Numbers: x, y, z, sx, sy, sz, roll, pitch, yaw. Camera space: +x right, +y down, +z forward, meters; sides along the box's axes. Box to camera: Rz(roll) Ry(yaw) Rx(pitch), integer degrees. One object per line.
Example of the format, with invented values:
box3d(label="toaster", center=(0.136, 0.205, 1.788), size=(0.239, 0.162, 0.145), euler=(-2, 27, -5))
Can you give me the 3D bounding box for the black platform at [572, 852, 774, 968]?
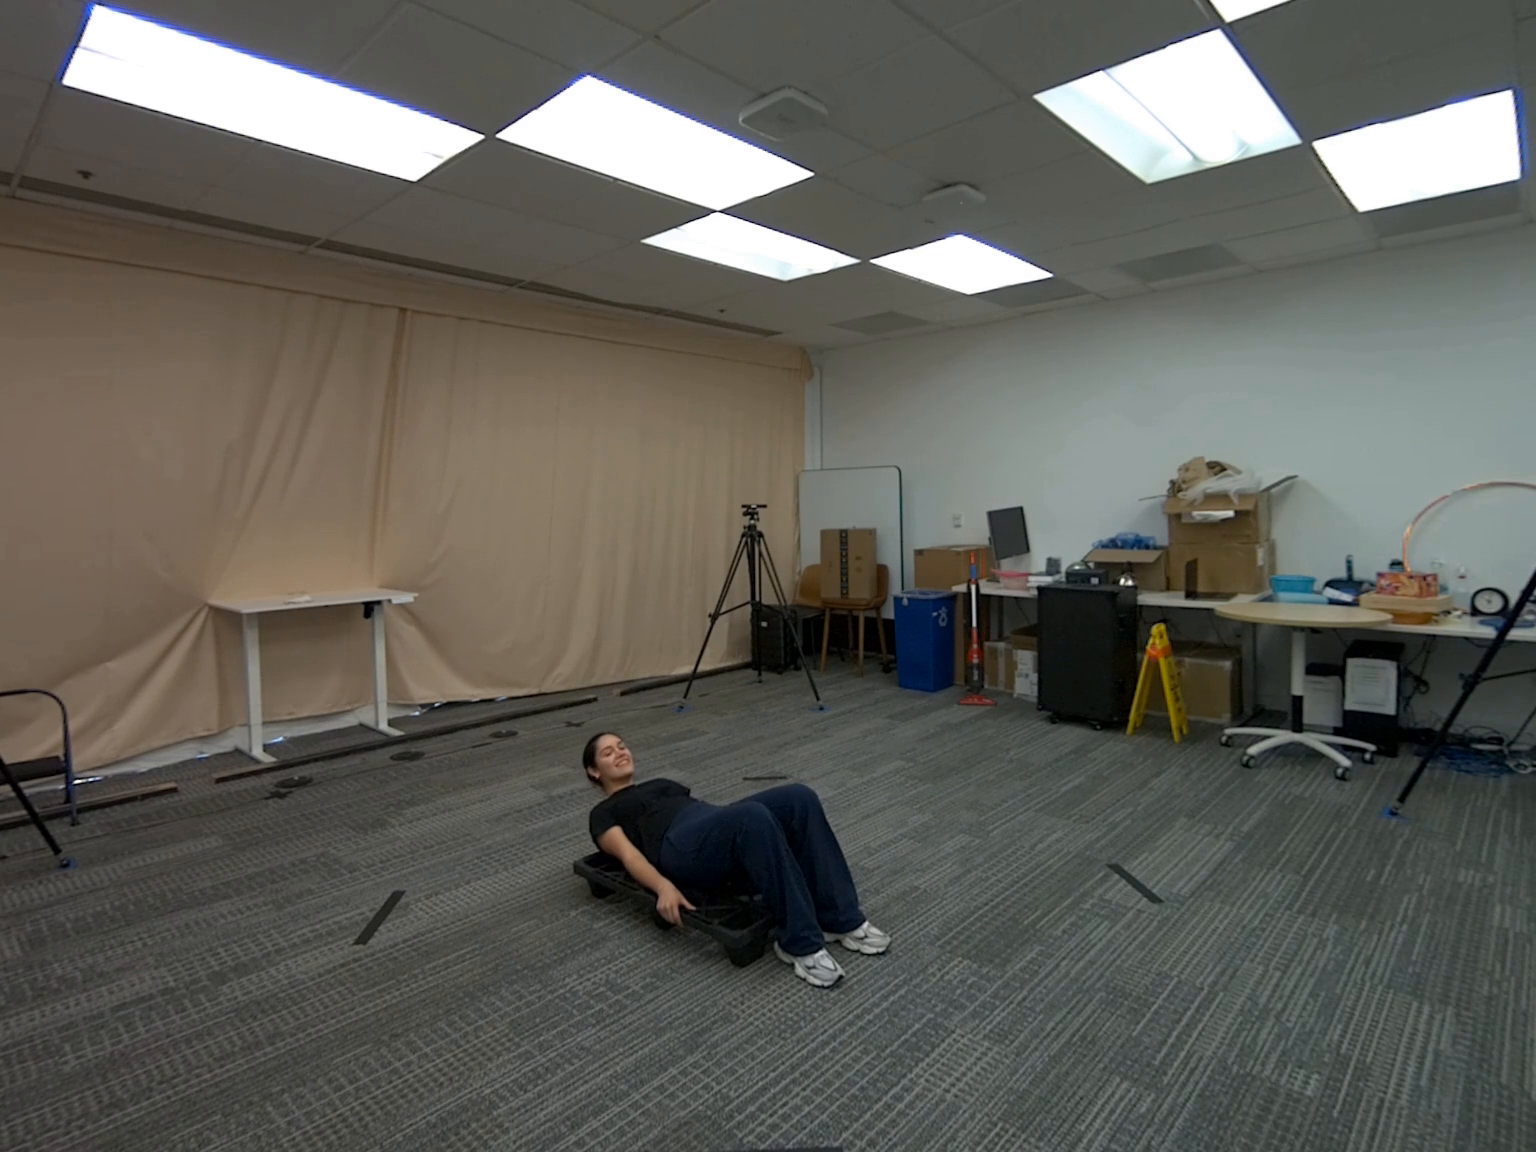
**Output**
box3d(label="black platform", center=(-0.193, 1.084, 2.941), size=(0.832, 0.143, 0.587), euler=(3, 6, 41))
